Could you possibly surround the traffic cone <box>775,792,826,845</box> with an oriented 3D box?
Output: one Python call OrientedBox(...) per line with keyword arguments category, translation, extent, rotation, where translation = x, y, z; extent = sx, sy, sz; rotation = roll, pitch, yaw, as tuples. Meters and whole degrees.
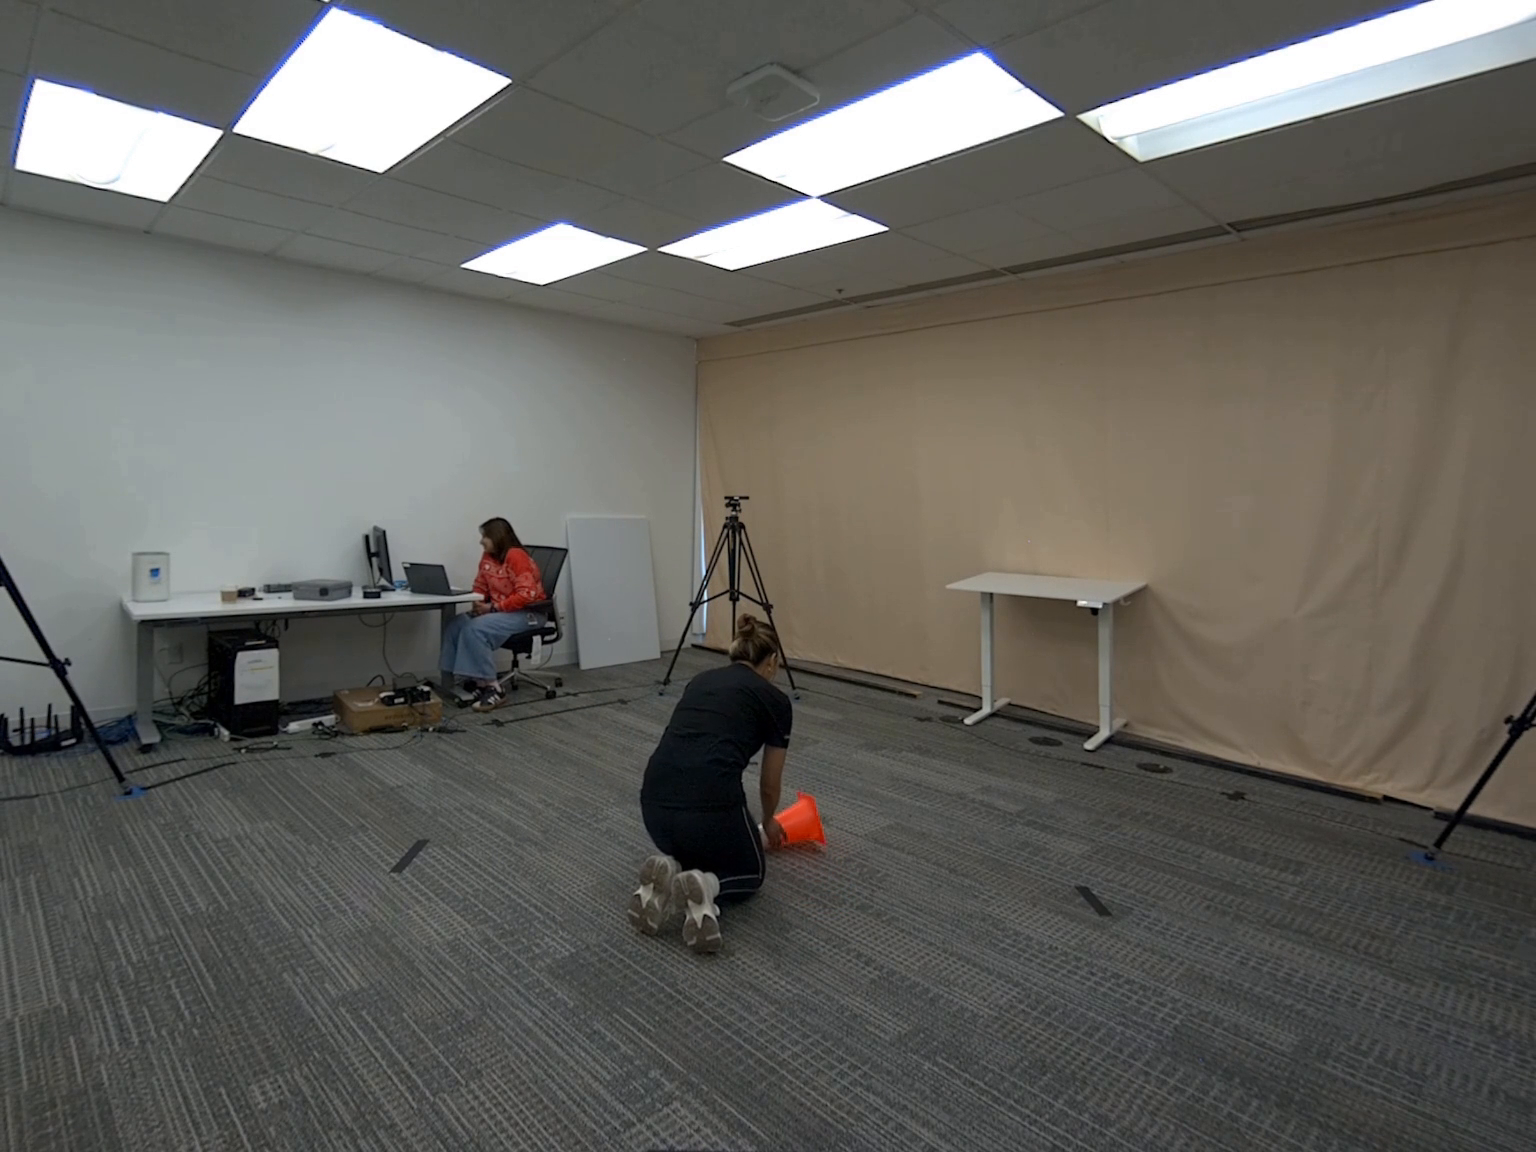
OrientedBox(category="traffic cone", translation=(-0.008, 1.018, 3.342), extent=(0.380, 0.206, 0.205), rotation=(-14, -3, -18))
